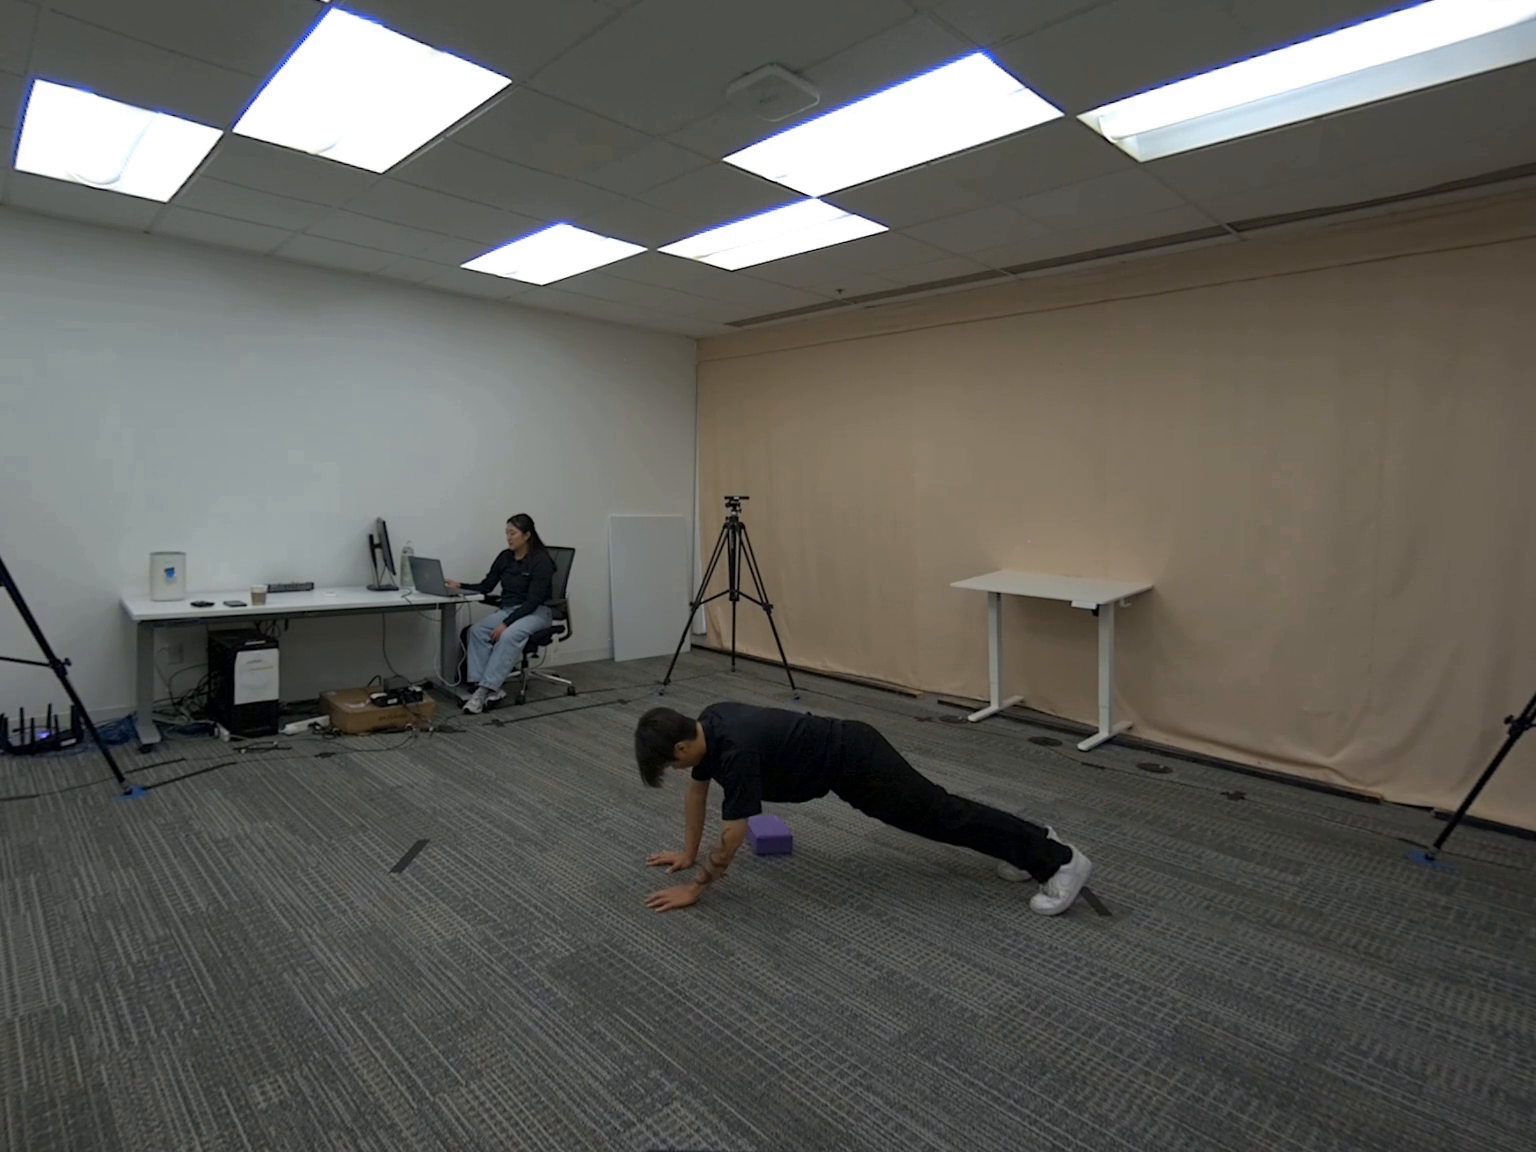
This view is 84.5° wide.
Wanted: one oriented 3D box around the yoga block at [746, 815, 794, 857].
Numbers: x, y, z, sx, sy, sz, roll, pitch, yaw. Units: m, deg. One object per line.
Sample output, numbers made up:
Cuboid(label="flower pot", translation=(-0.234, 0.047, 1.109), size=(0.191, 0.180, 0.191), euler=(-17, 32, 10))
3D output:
Cuboid(label="yoga block", translation=(-0.008, 1.042, 3.403), size=(0.148, 0.076, 0.232), euler=(-1, 6, -12))
